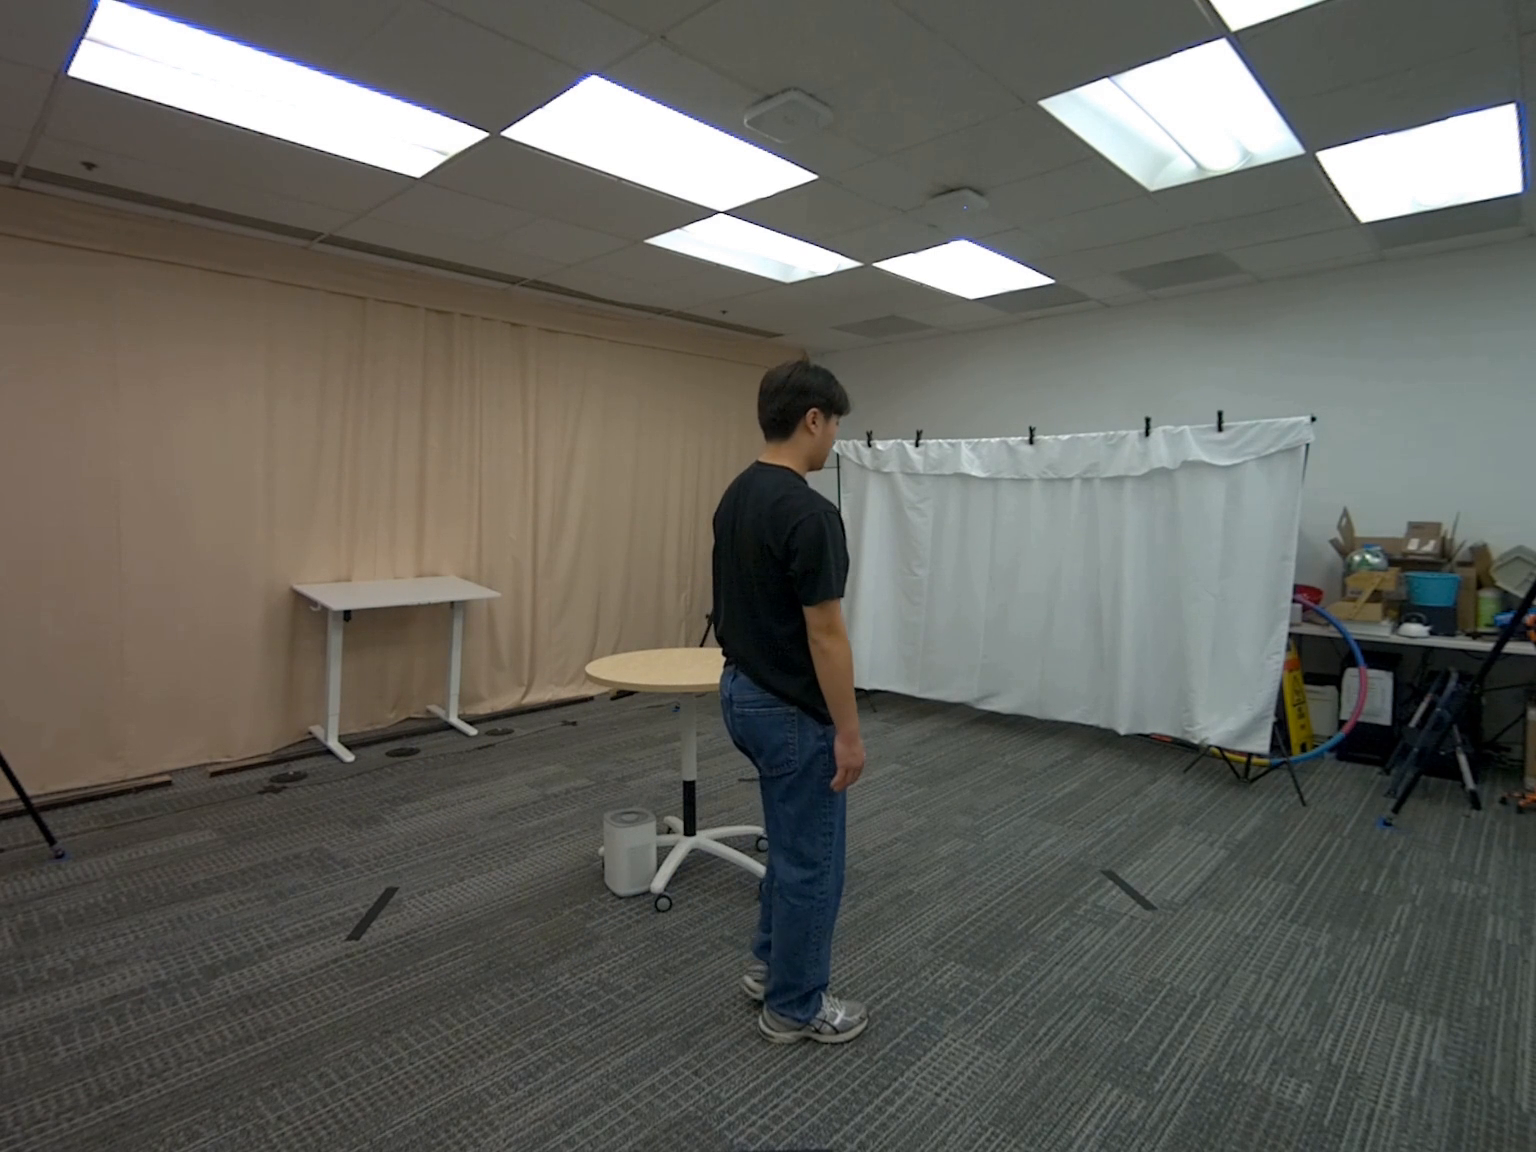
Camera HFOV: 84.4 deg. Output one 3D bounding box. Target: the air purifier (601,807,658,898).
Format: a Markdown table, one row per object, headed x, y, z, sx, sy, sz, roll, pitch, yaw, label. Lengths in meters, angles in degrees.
| x | y | z | sx | sy | sz | roll | pitch | yaw | label |
| --- | --- | --- | --- | --- | --- | --- | --- | --- | --- |
| -0.510 | 1.012 | 3.061 | 0.166 | 0.265 | 0.177 | 0 | 4 | -37 | air purifier |
